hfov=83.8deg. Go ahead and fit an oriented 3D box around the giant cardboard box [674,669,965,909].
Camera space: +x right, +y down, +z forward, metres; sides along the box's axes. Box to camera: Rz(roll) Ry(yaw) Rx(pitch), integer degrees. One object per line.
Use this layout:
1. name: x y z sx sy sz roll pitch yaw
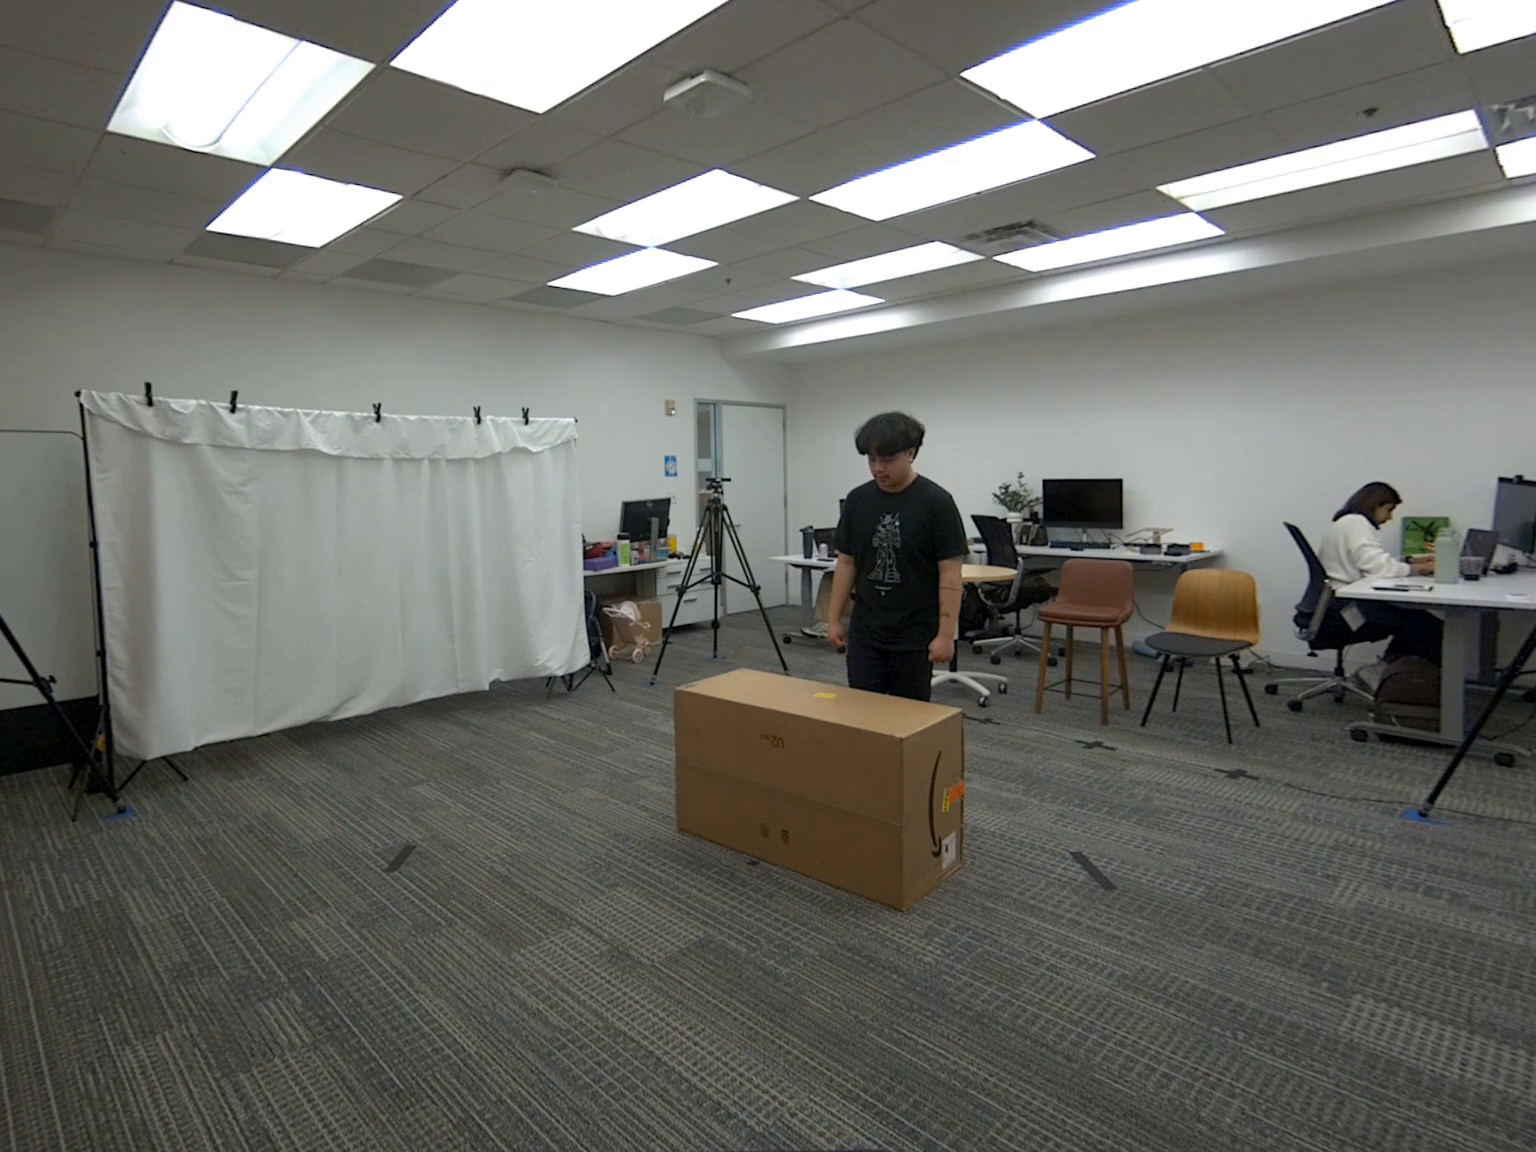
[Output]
1. giant cardboard box: 0.159 0.742 3.201 1.059 0.582 0.435 5 6 40
